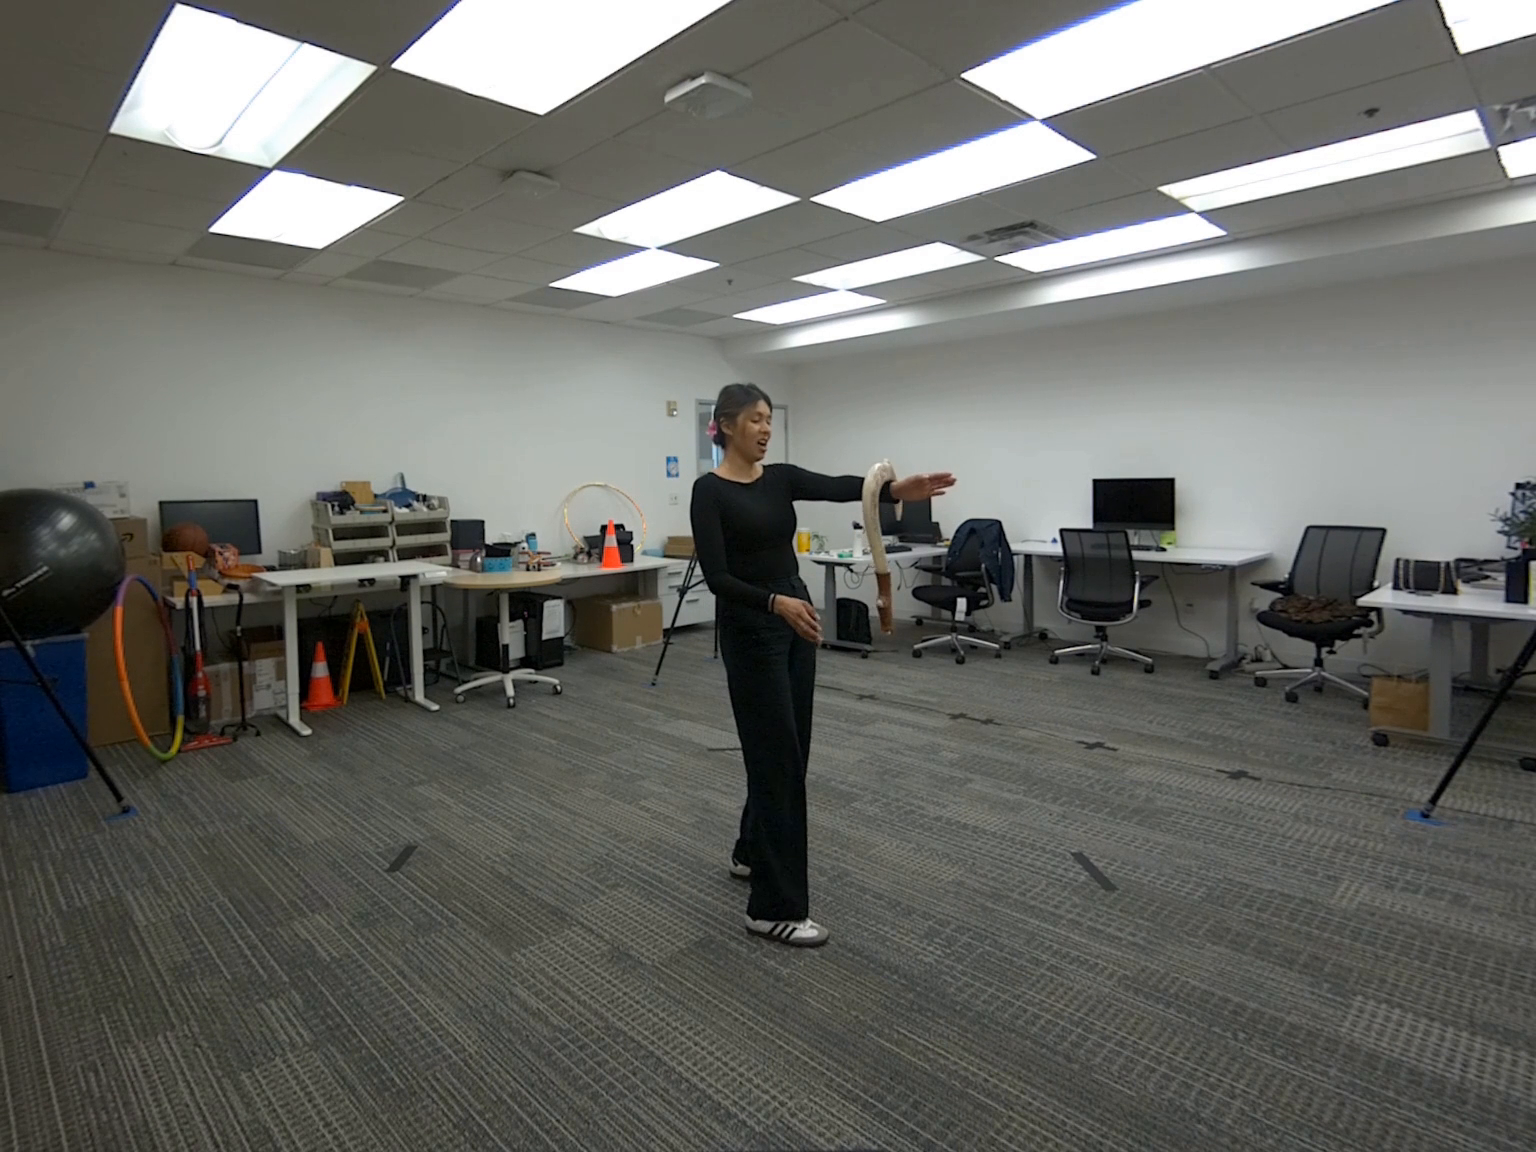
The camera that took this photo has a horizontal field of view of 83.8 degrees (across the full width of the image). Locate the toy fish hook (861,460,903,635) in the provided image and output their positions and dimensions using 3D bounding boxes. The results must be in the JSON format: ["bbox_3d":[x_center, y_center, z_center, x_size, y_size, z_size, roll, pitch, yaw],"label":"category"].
[{"bbox_3d":[0.351,-0.081,2.484,0.050,0.498,0.222,4,20,34],"label":"toy fish hook"}]
